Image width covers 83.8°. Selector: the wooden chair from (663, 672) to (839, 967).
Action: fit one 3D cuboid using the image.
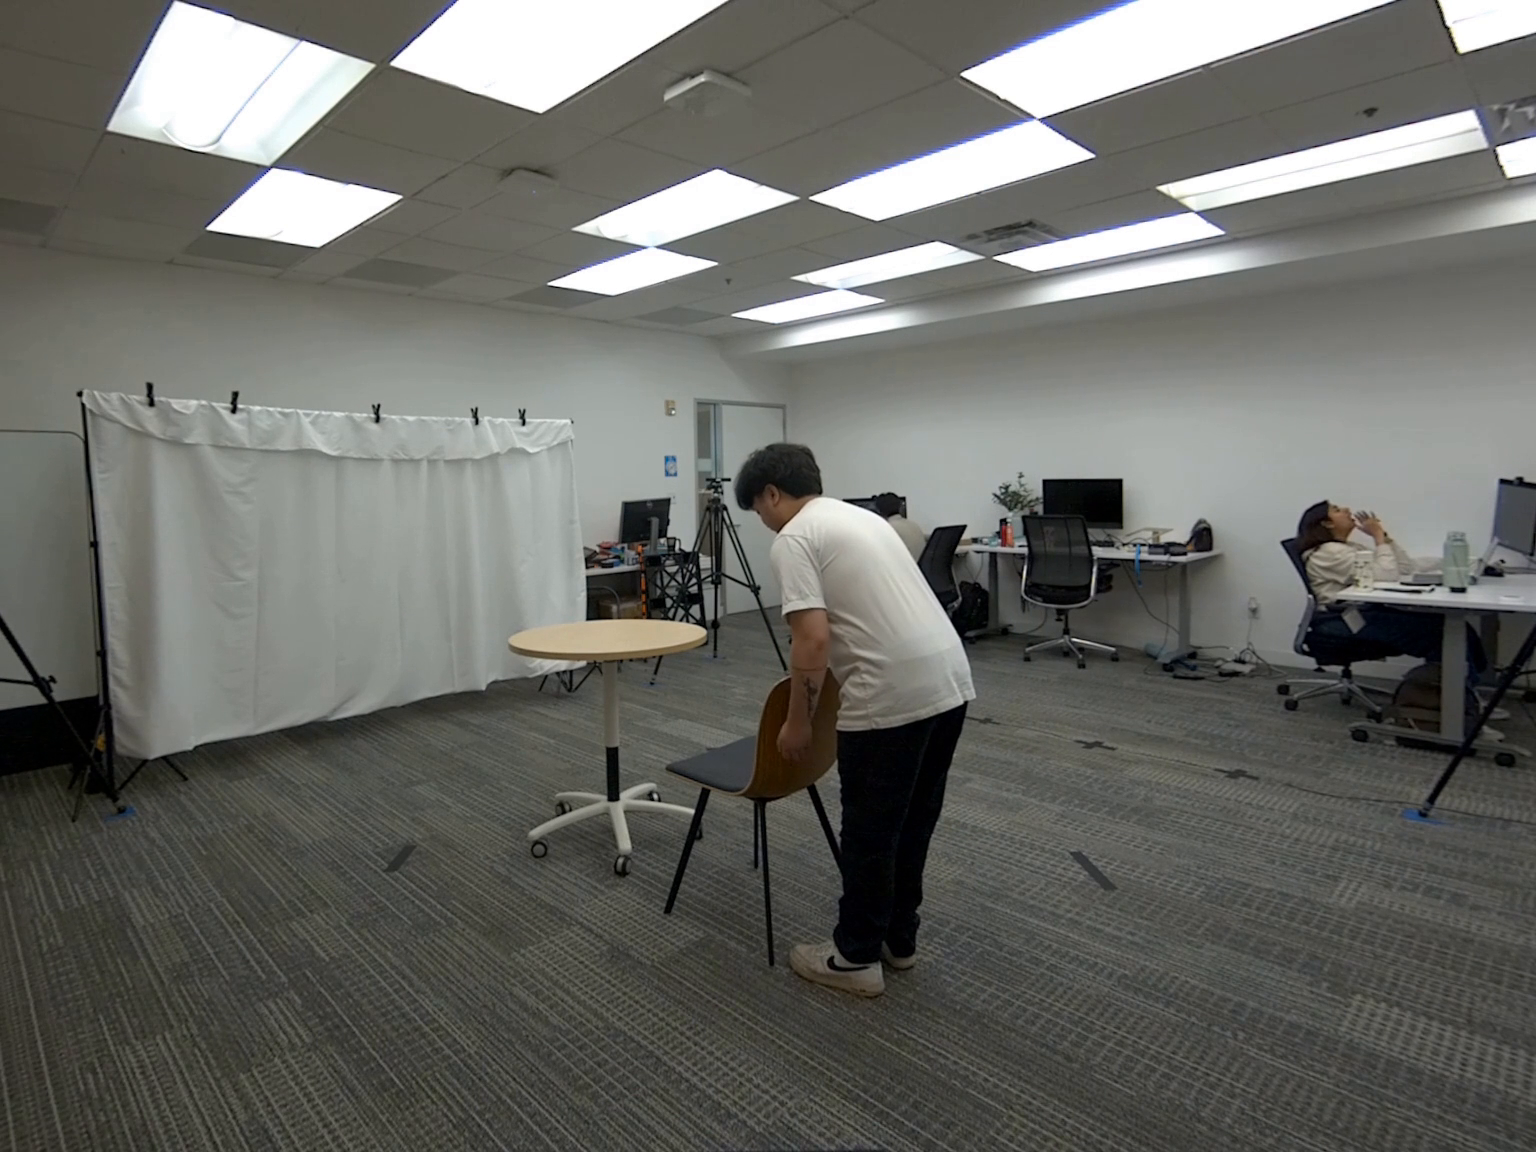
[{"bbox_3d":[-0.028,0.655,2.734,0.540,0.871,0.466,9,10,42],"label":"wooden chair"}]
